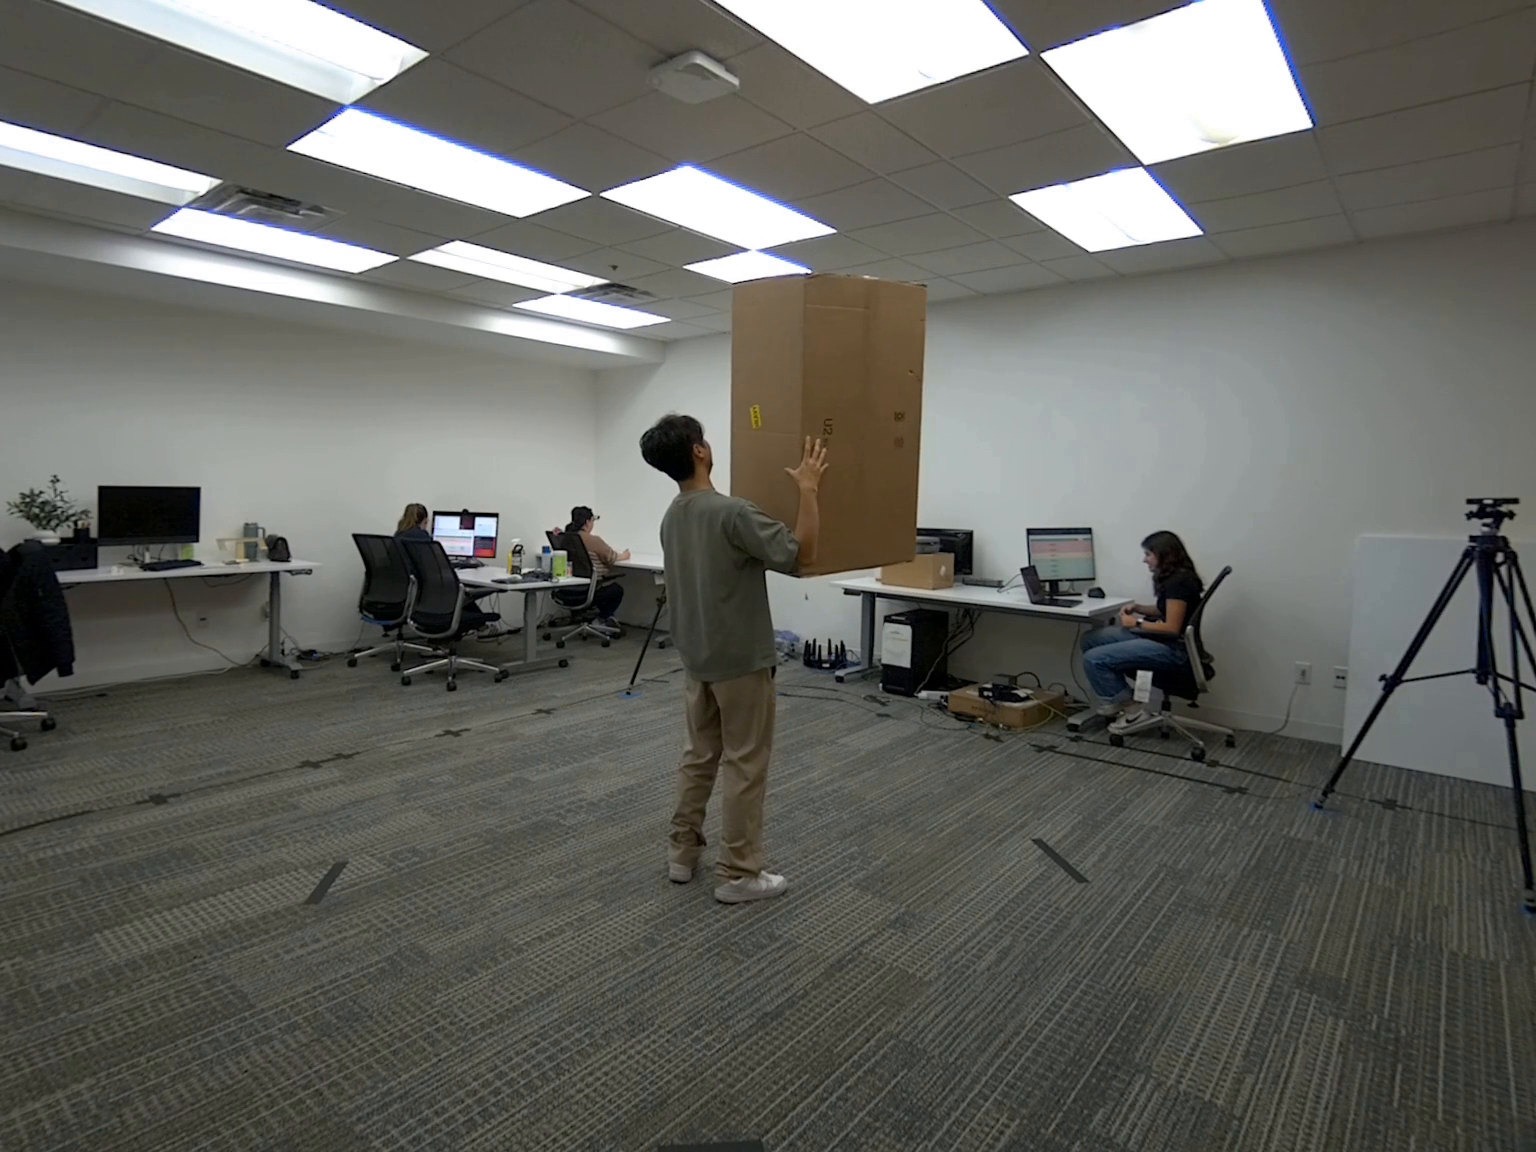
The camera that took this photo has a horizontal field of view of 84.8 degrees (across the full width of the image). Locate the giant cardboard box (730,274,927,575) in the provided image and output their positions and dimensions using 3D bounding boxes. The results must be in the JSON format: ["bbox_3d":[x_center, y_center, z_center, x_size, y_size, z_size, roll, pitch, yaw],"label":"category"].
[{"bbox_3d":[0.205,-0.559,3.155,0.562,1.016,0.442,-7,13,-36],"label":"giant cardboard box"}]
